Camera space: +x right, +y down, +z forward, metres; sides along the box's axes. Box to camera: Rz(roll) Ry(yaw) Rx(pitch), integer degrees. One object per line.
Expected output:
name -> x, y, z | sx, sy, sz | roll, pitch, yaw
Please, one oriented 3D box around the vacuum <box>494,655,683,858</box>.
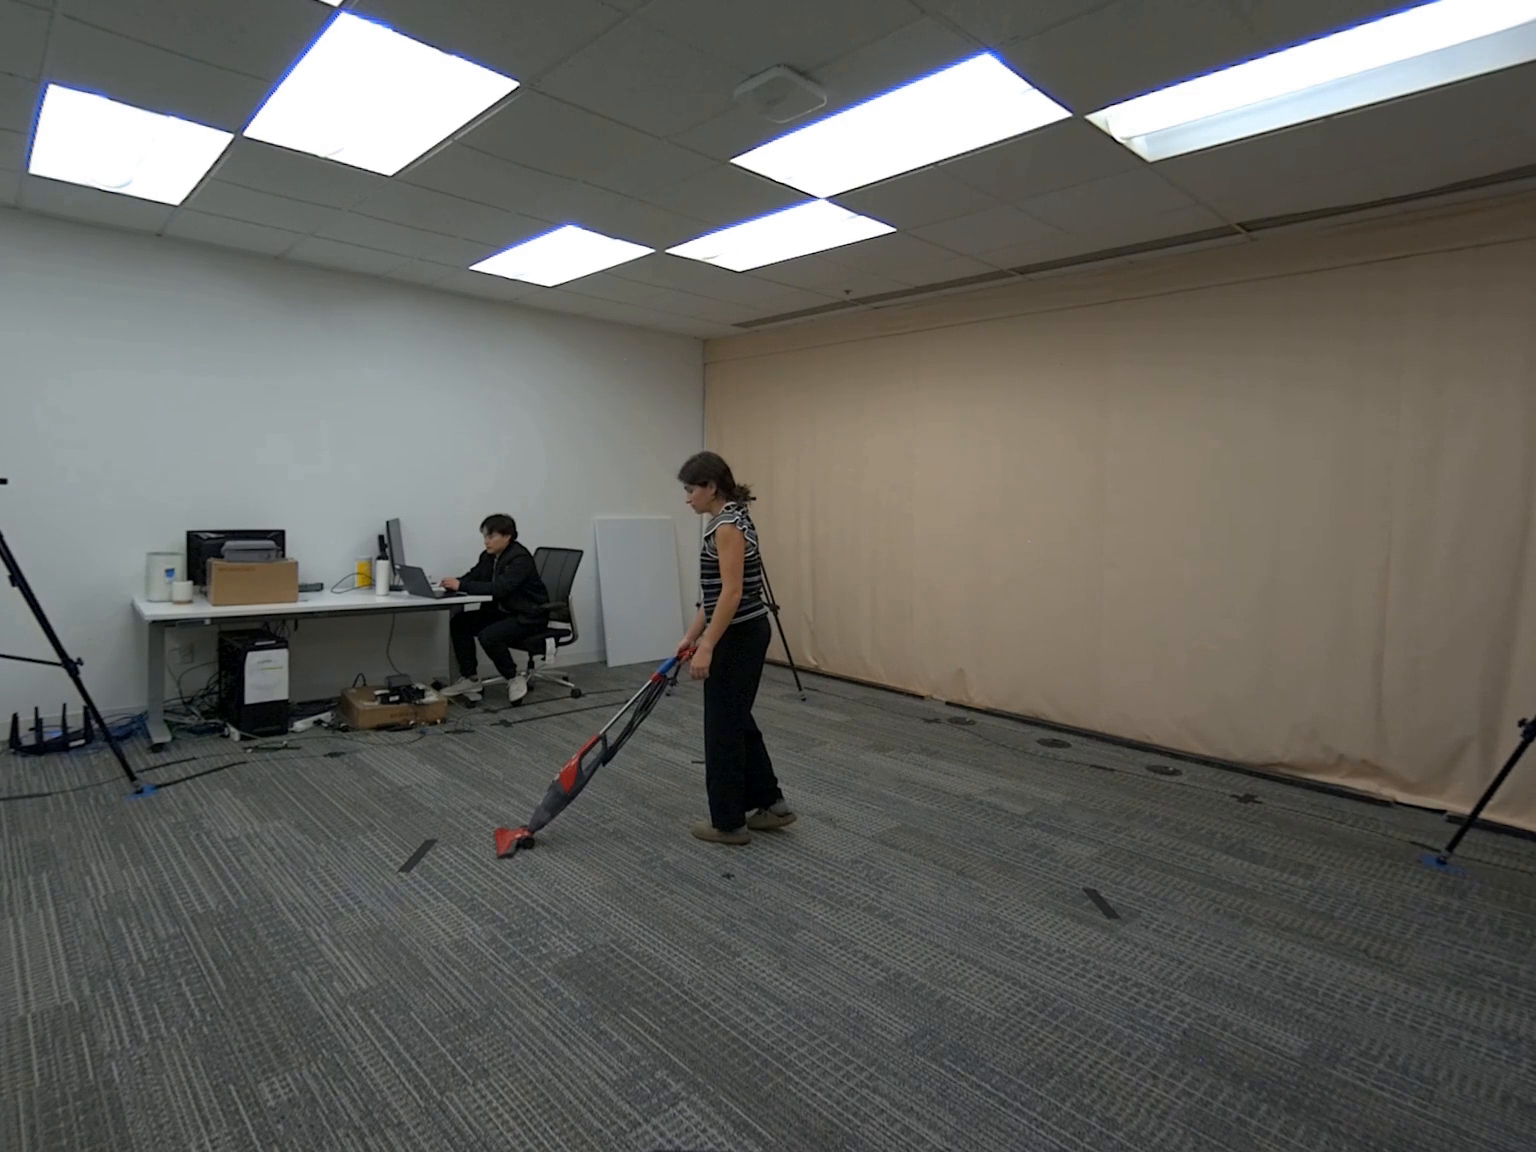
vacuum -> -0.665, 0.675, 3.432 | 0.141, 1.049, 0.258 | 48, -11, -22
